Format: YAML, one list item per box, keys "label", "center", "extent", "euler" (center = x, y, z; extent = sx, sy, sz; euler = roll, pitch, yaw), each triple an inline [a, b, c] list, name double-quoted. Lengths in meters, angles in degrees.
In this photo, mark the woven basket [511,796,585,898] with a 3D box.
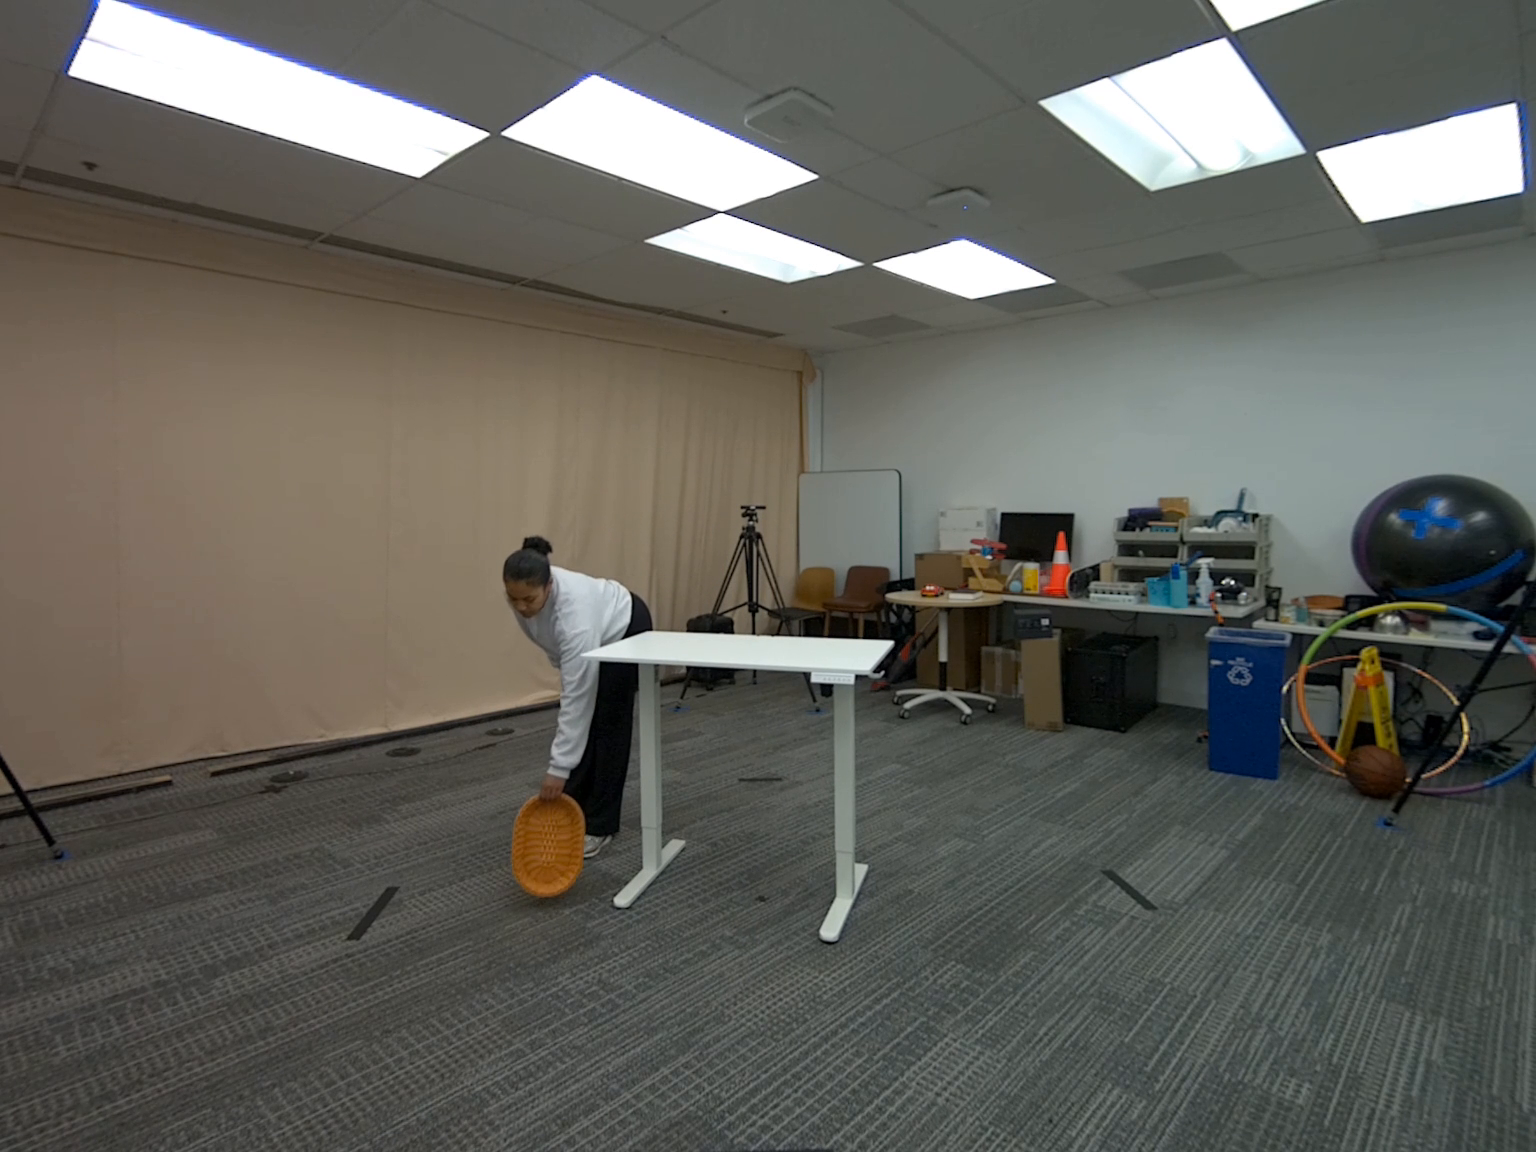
- label: "woven basket"
  center: [-0.762, 0.937, 2.988]
  extent: [0.250, 0.353, 0.073]
  euler: [5, -14, -9]
